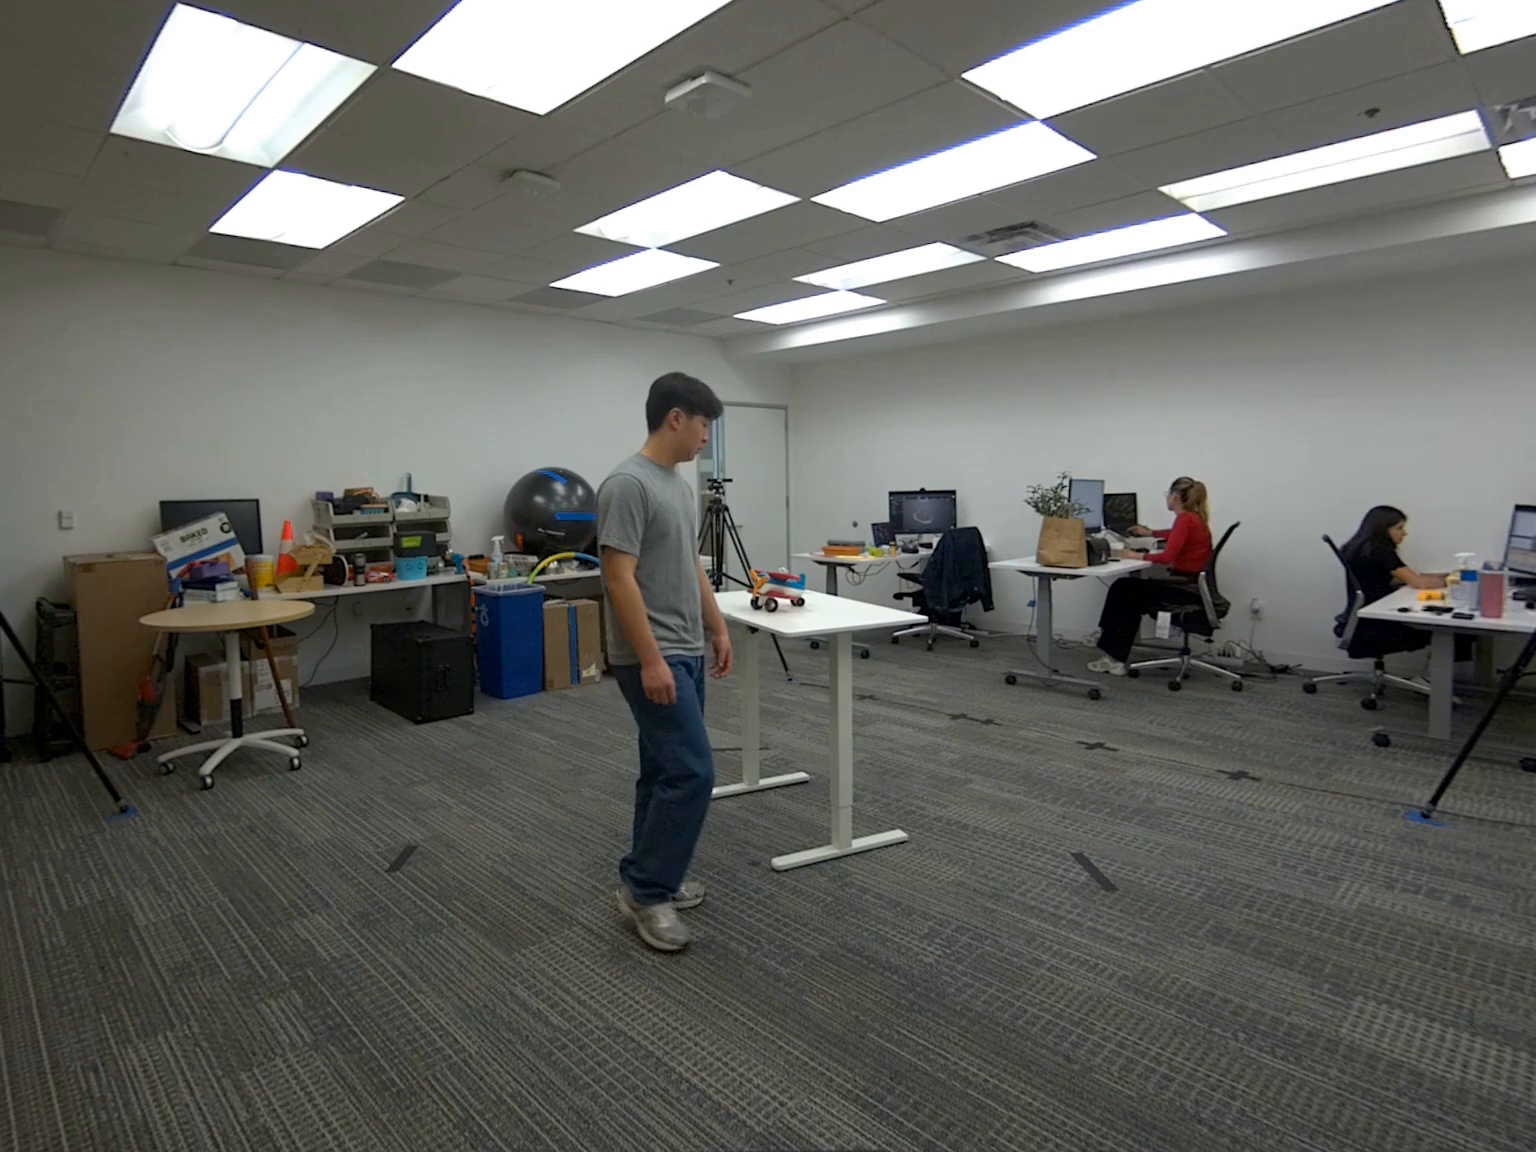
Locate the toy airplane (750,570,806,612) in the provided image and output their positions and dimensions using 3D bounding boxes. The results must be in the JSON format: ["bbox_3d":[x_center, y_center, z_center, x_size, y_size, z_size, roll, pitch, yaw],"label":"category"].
[{"bbox_3d":[0.040,0.050,3.396,0.257,0.155,0.255,3,8,23],"label":"toy airplane"}]
